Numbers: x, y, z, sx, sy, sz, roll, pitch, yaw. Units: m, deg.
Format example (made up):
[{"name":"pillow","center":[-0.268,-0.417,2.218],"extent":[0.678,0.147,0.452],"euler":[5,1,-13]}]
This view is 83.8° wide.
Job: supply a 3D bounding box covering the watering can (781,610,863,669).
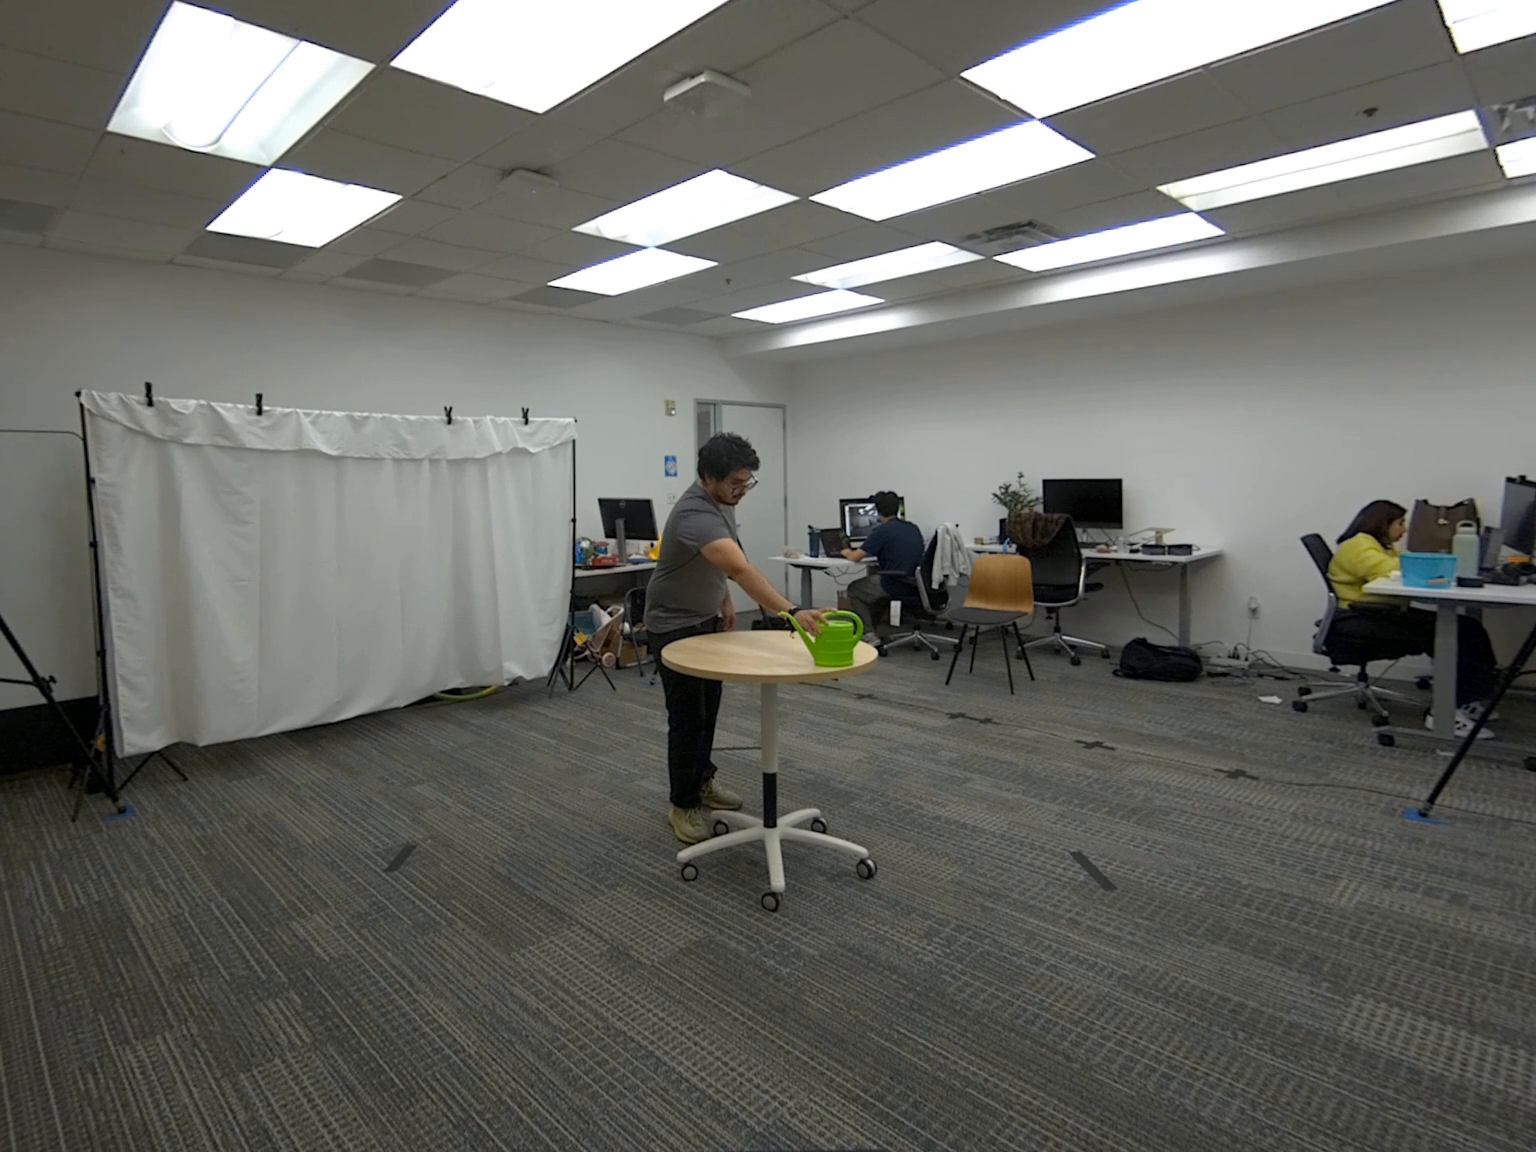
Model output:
[{"name":"watering can","center":[0.182,0.206,2.818],"extent":[0.280,0.176,0.097],"euler":[3,5,7]}]
